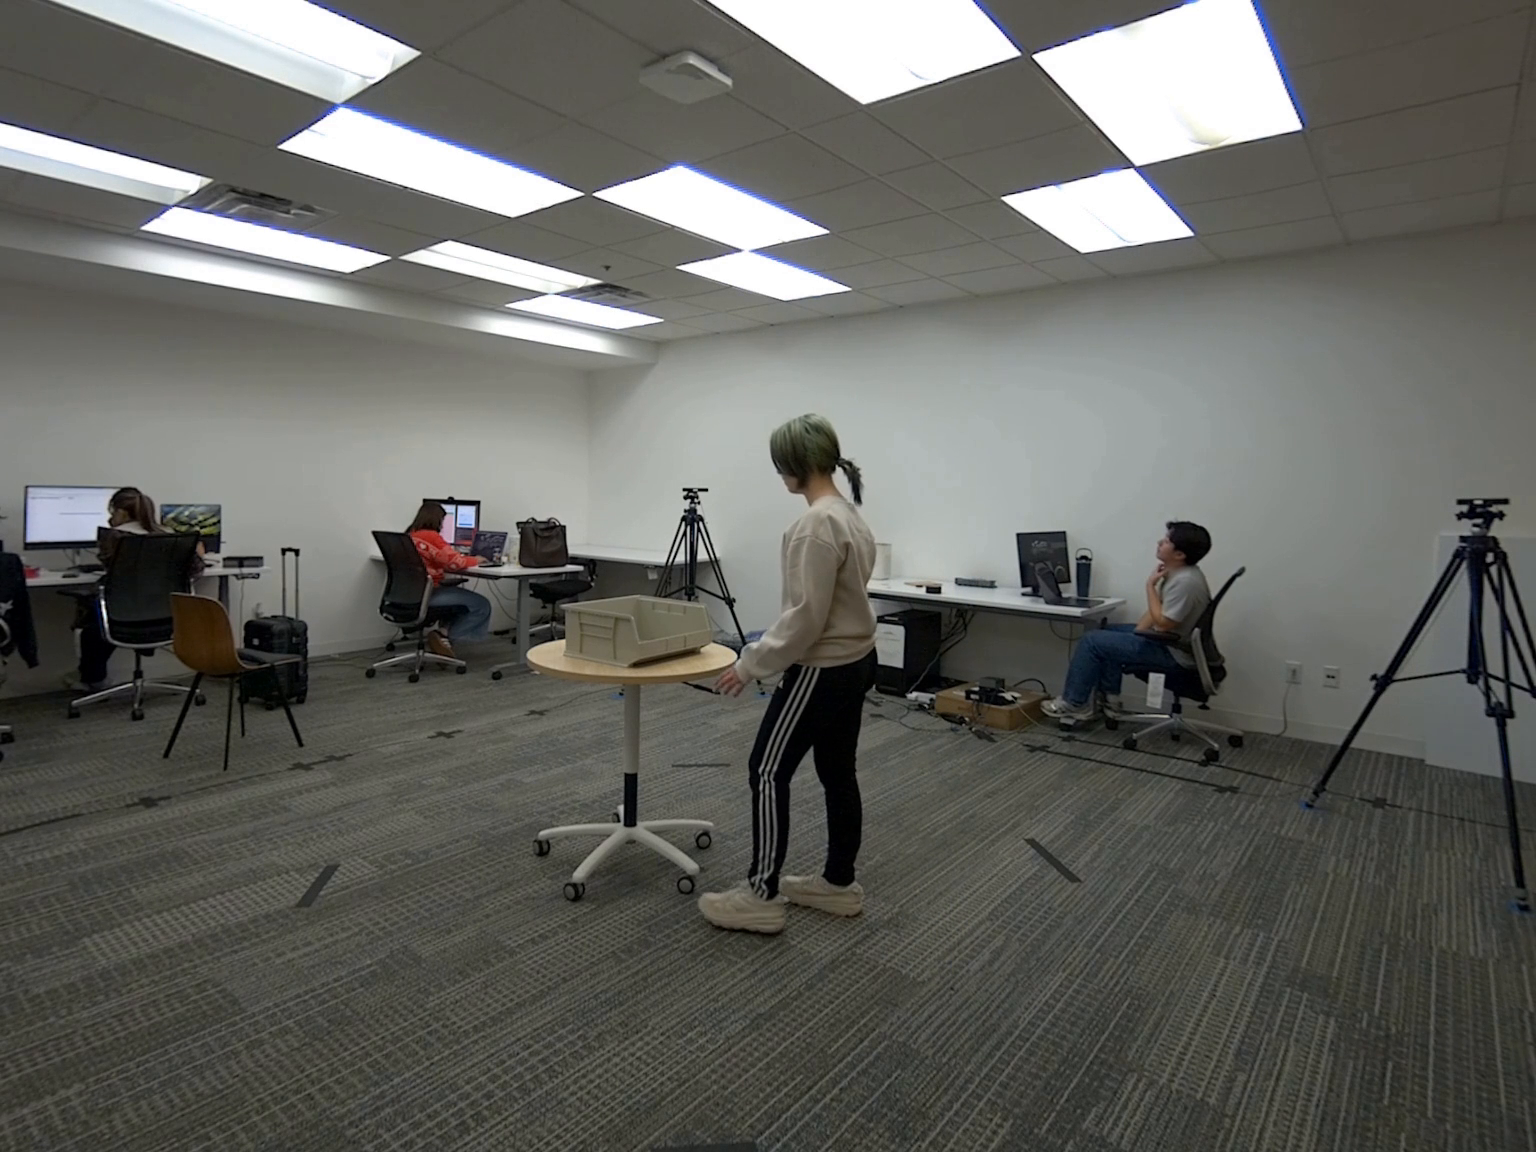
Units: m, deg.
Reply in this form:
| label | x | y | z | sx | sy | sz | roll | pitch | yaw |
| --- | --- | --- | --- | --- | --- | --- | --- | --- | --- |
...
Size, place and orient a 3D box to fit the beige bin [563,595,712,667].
| label | x | y | z | sx | sy | sz | roll | pitch | yaw |
| --- | --- | --- | --- | --- | --- | --- | --- | --- | --- |
| beige bin | -0.486 | 0.195 | 3.102 | 0.389 | 0.188 | 0.411 | 4 | 6 | 35 |
